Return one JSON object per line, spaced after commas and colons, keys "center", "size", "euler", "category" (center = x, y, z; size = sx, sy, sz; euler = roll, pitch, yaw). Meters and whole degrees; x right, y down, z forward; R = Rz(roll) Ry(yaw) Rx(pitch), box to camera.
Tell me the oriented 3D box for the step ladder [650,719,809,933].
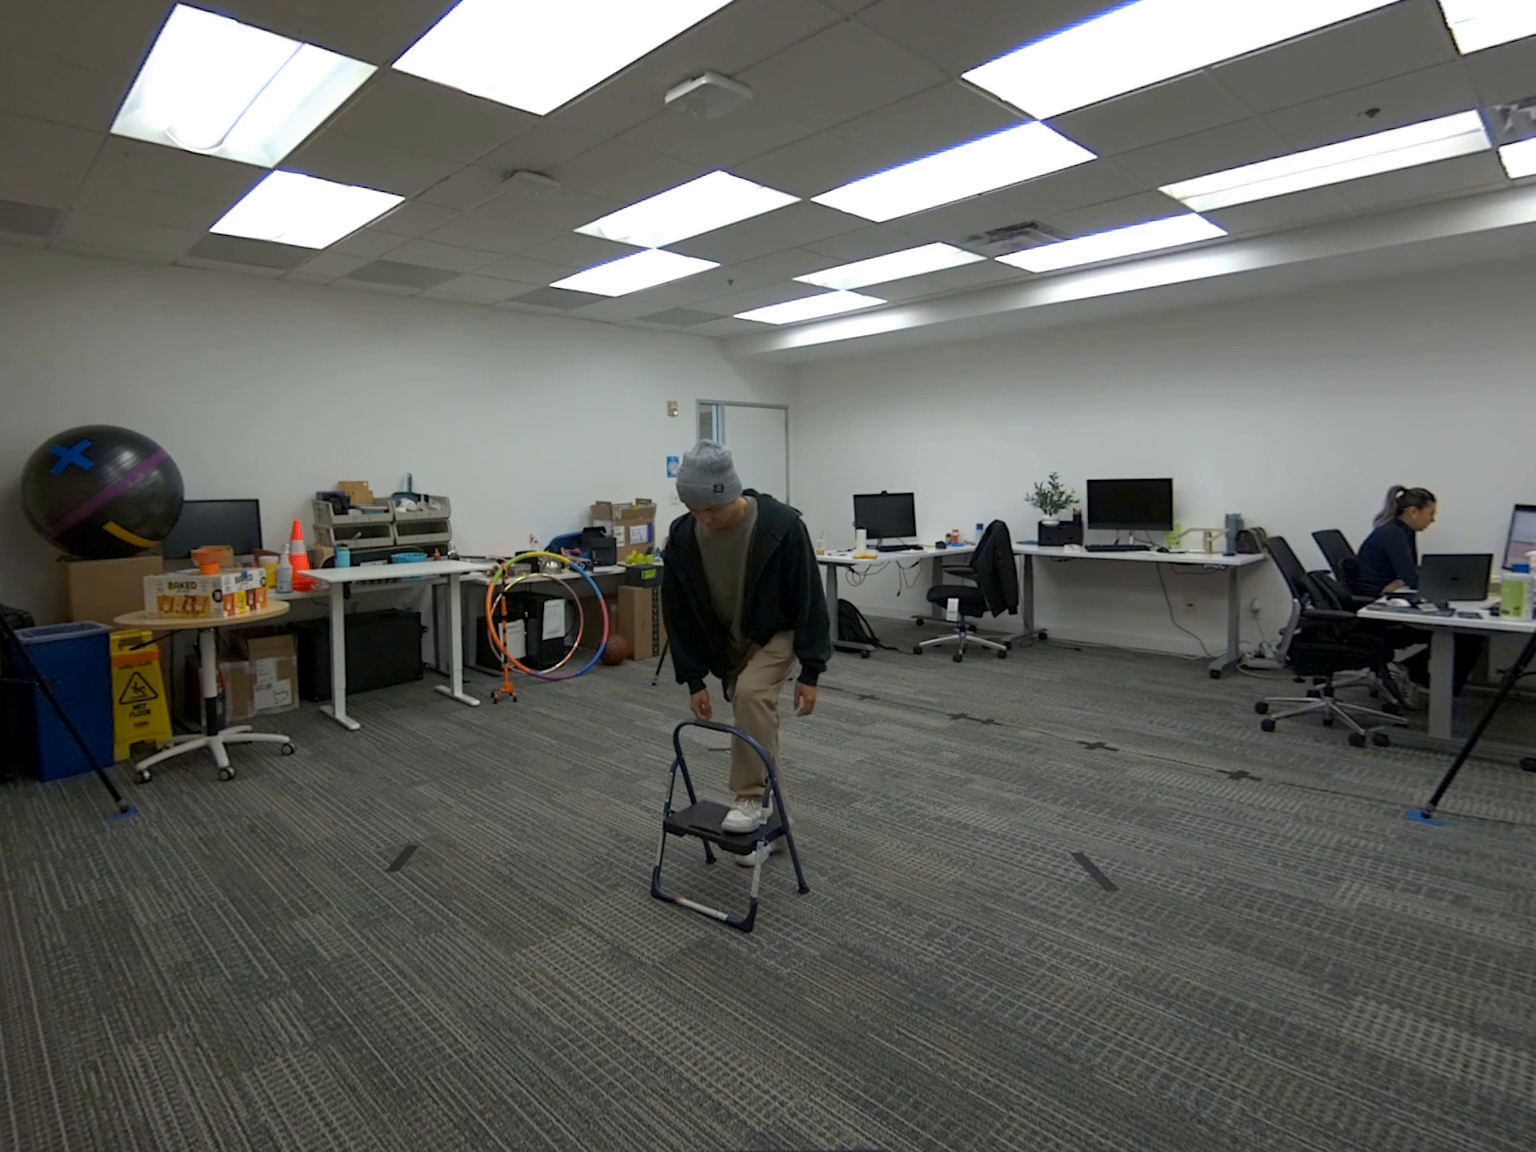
{"center": [-0.136, 0.772, 2.864], "size": [0.443, 0.603, 0.341], "euler": [3, 6, 35], "category": "step ladder"}
